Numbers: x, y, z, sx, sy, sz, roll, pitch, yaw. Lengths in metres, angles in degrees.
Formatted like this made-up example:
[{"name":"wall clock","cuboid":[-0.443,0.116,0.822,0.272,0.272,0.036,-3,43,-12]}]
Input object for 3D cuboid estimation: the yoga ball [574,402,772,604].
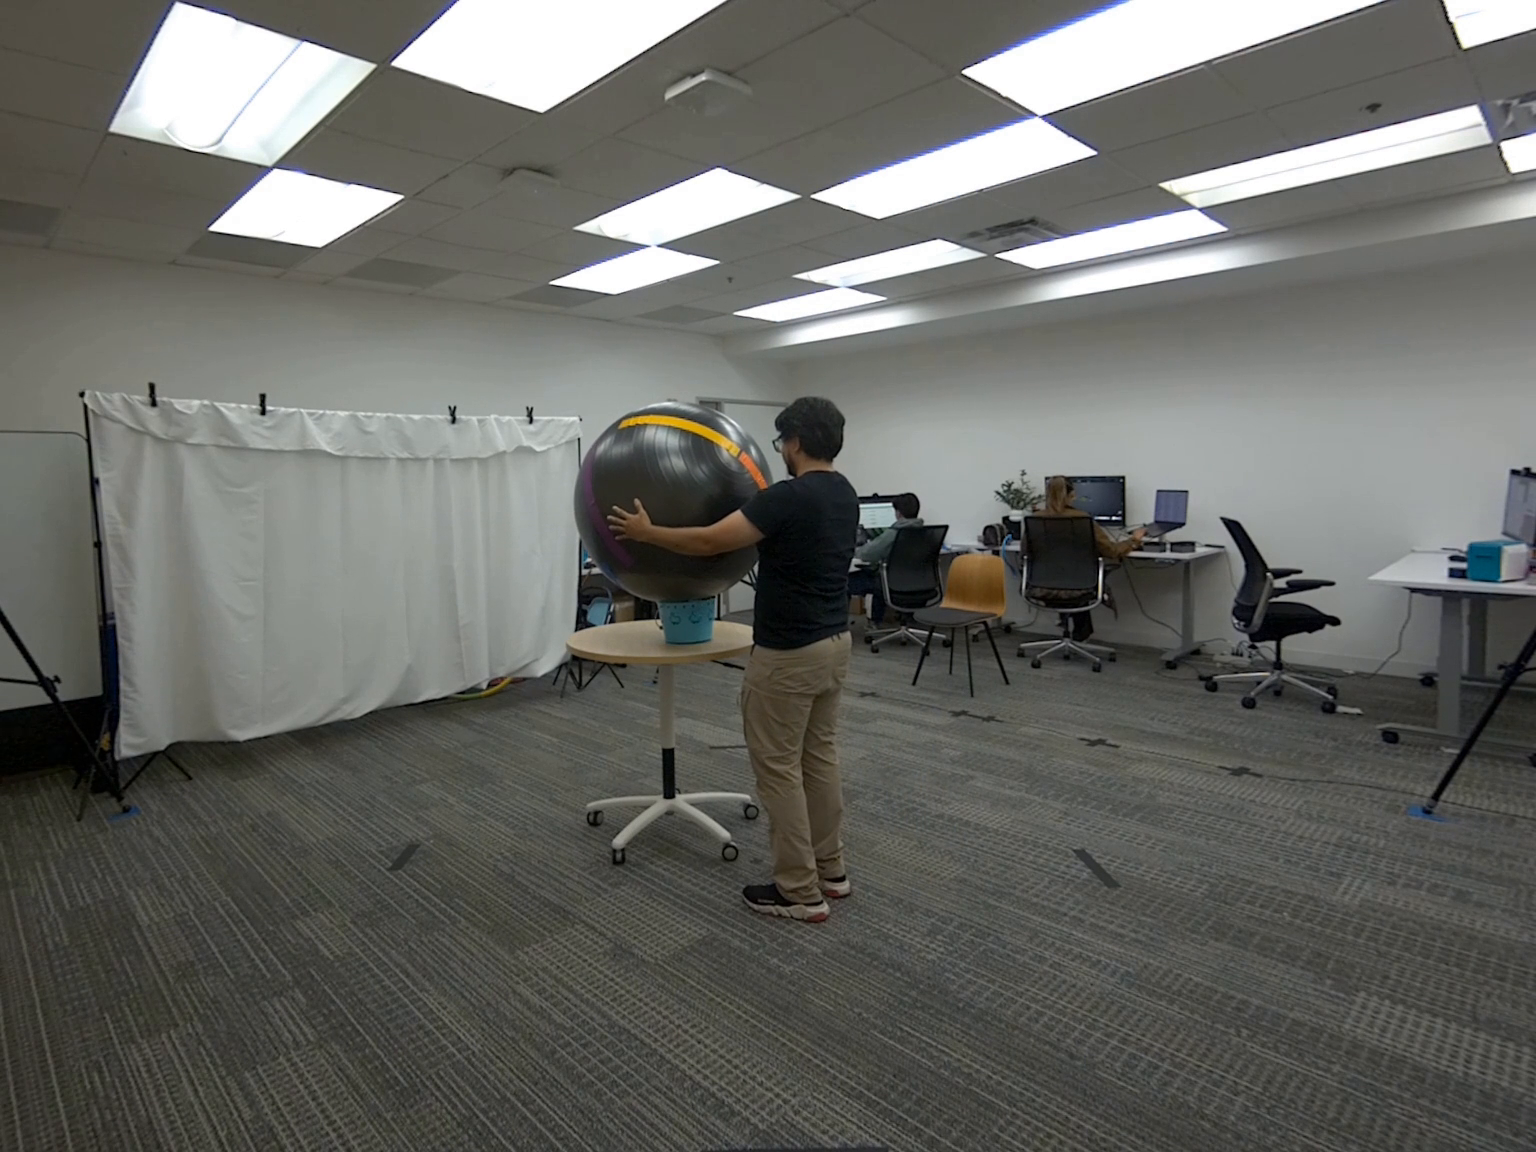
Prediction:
[{"name":"yoga ball","cuboid":[-0.347,-0.269,3.227,0.757,0.755,0.762,-1,5,-2]}]
